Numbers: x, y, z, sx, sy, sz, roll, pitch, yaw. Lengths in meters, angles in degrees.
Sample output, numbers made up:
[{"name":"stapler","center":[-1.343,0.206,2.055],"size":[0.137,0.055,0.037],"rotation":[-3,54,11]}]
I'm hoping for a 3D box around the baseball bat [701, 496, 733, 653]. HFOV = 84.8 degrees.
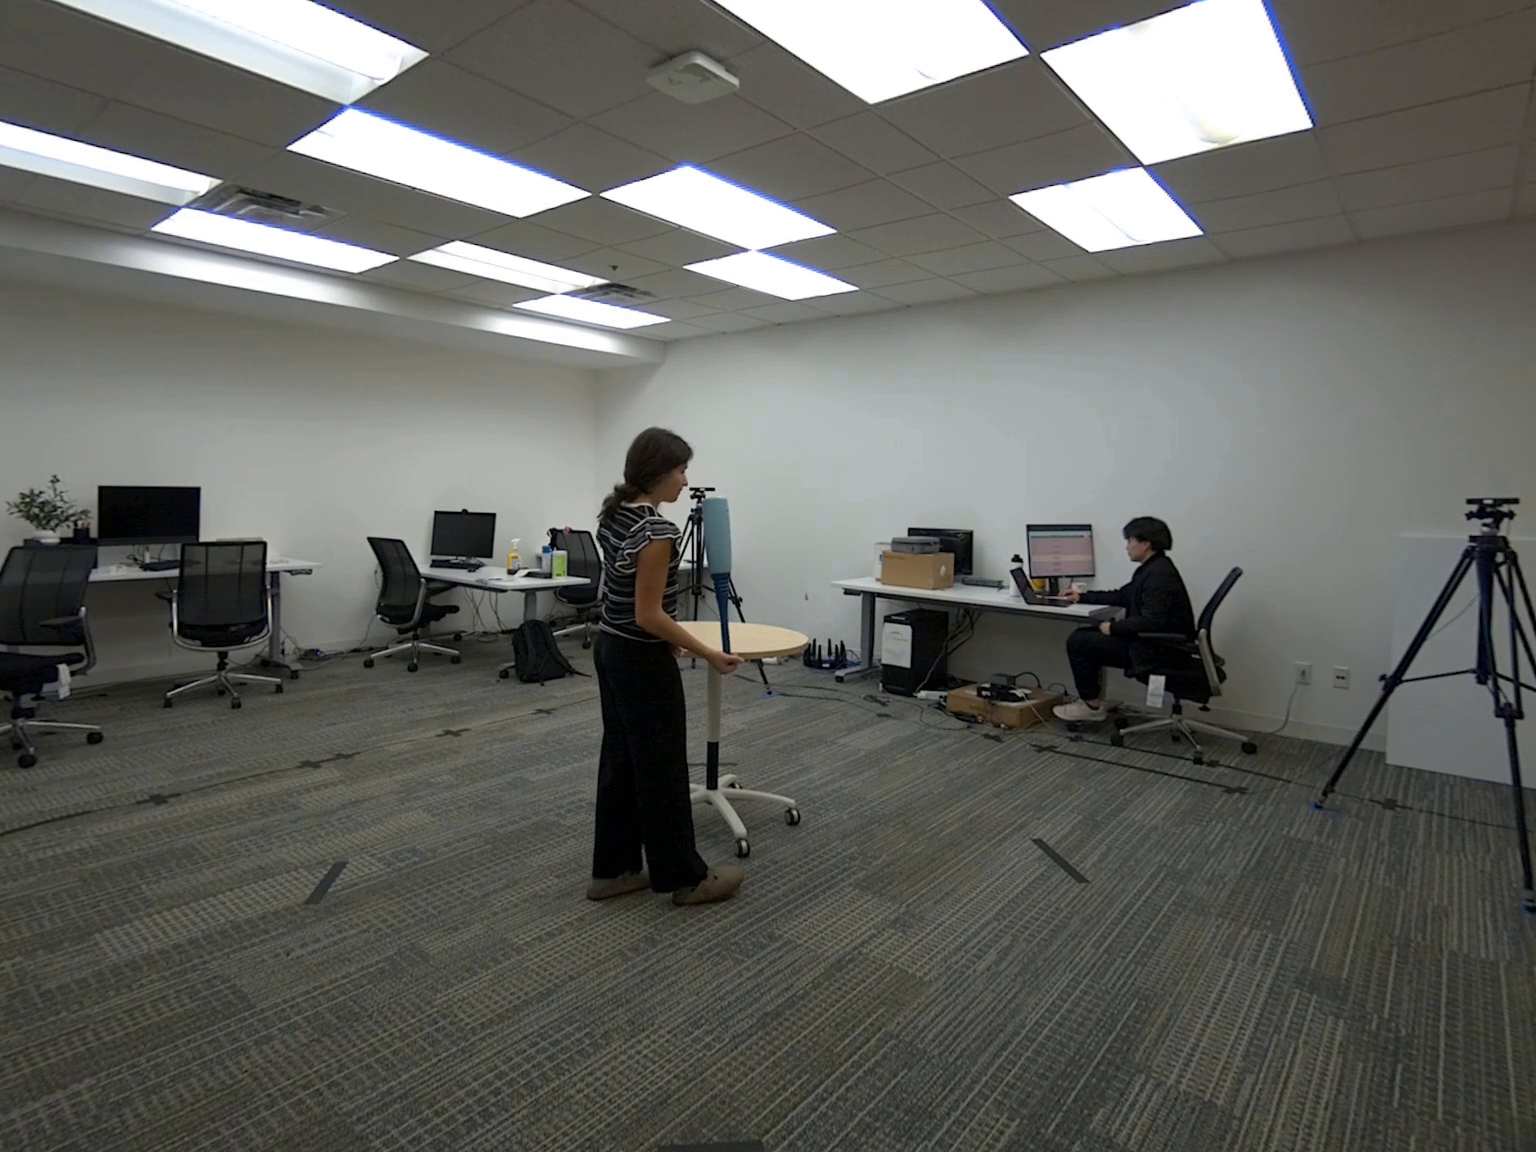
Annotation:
[{"name":"baseball bat","center":[-0.162,0.011,2.768],"size":[0.089,0.543,0.089],"rotation":[-5,-1,-2]}]
